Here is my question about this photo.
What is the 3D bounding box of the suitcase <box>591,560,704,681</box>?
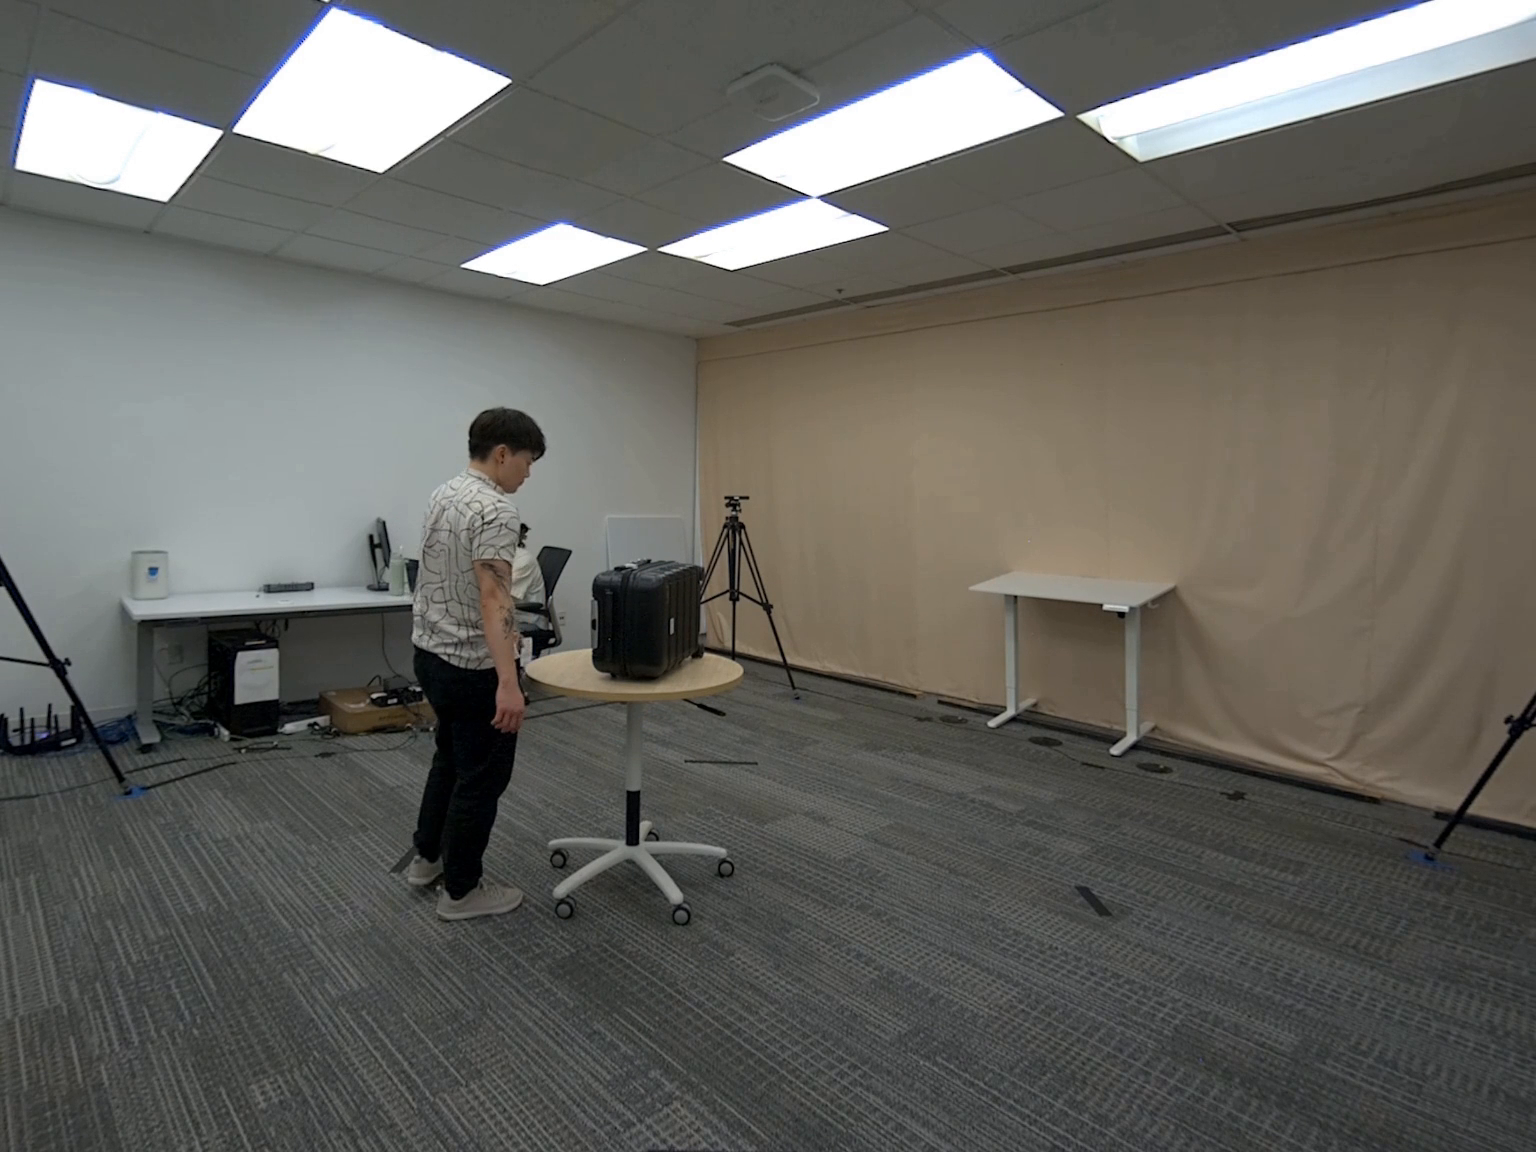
[{"bbox_3d":[-0.422,0.138,2.960,0.251,0.374,0.545,3,5,12],"label":"suitcase"}]
